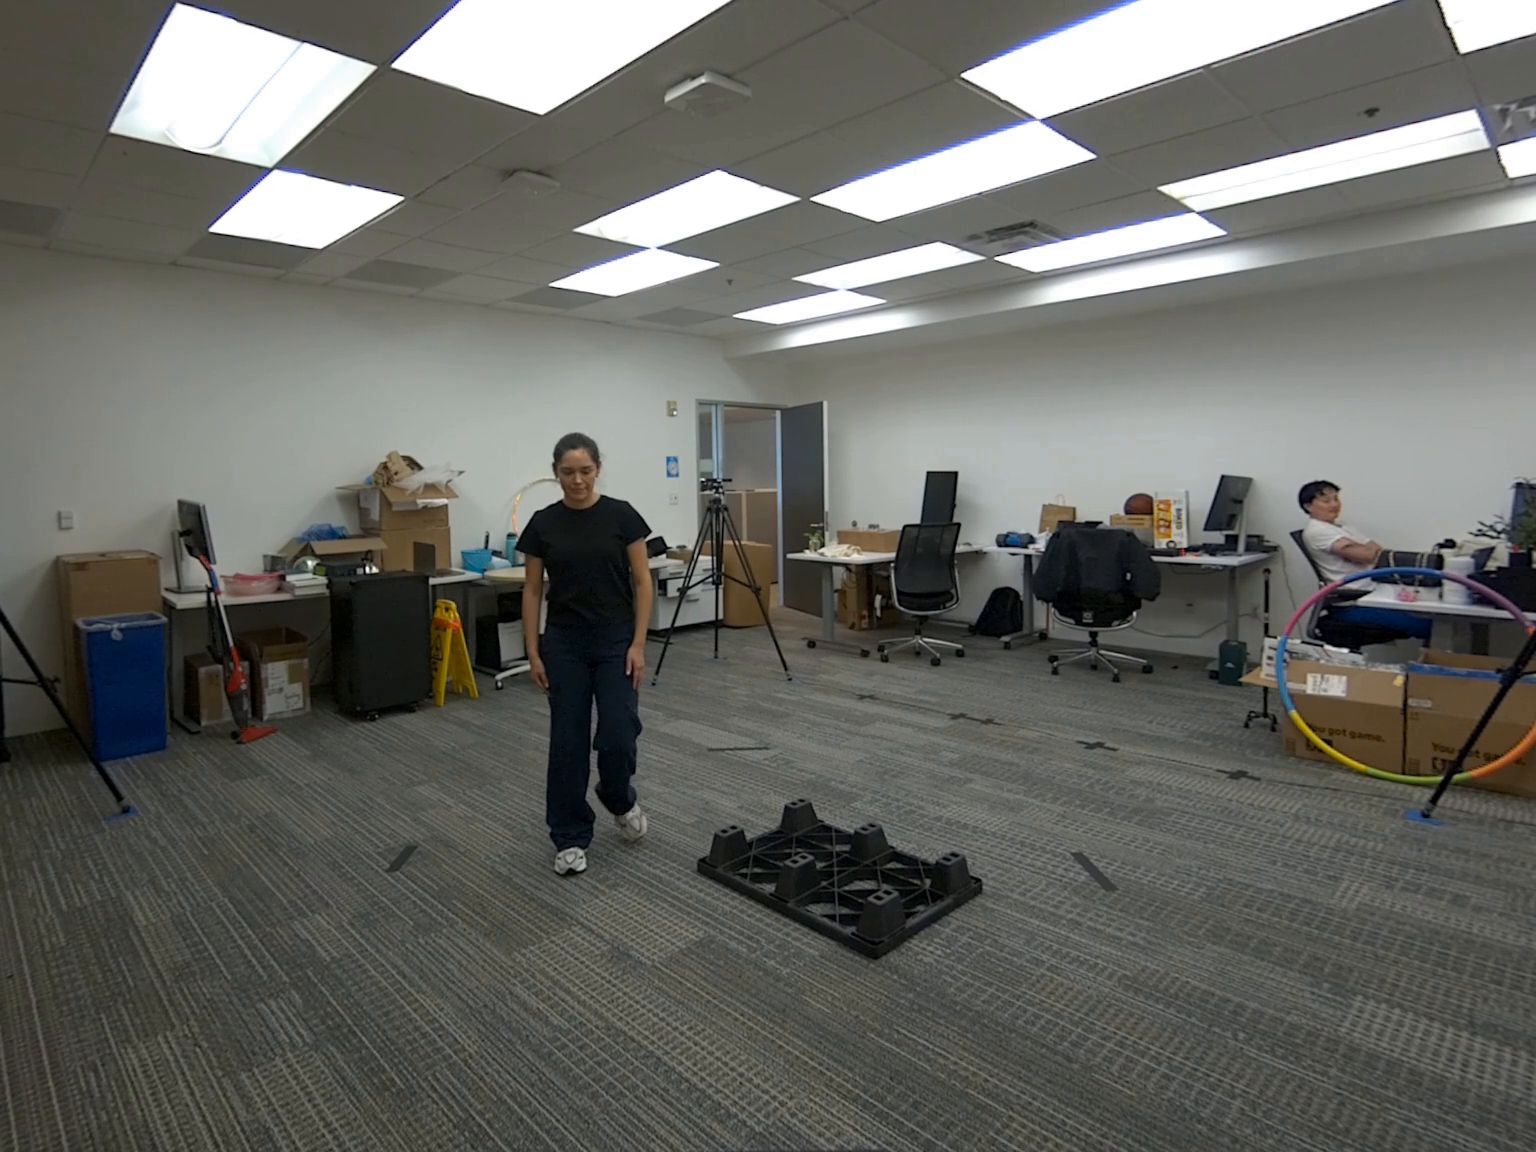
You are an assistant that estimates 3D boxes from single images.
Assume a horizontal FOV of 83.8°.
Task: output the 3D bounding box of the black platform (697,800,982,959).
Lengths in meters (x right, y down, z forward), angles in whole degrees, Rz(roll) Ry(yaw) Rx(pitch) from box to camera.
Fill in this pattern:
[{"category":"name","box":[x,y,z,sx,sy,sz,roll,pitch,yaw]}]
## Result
[{"category":"black platform","box":[0.234,0.988,2.968,0.589,0.142,0.831,-8,10,-44]}]
